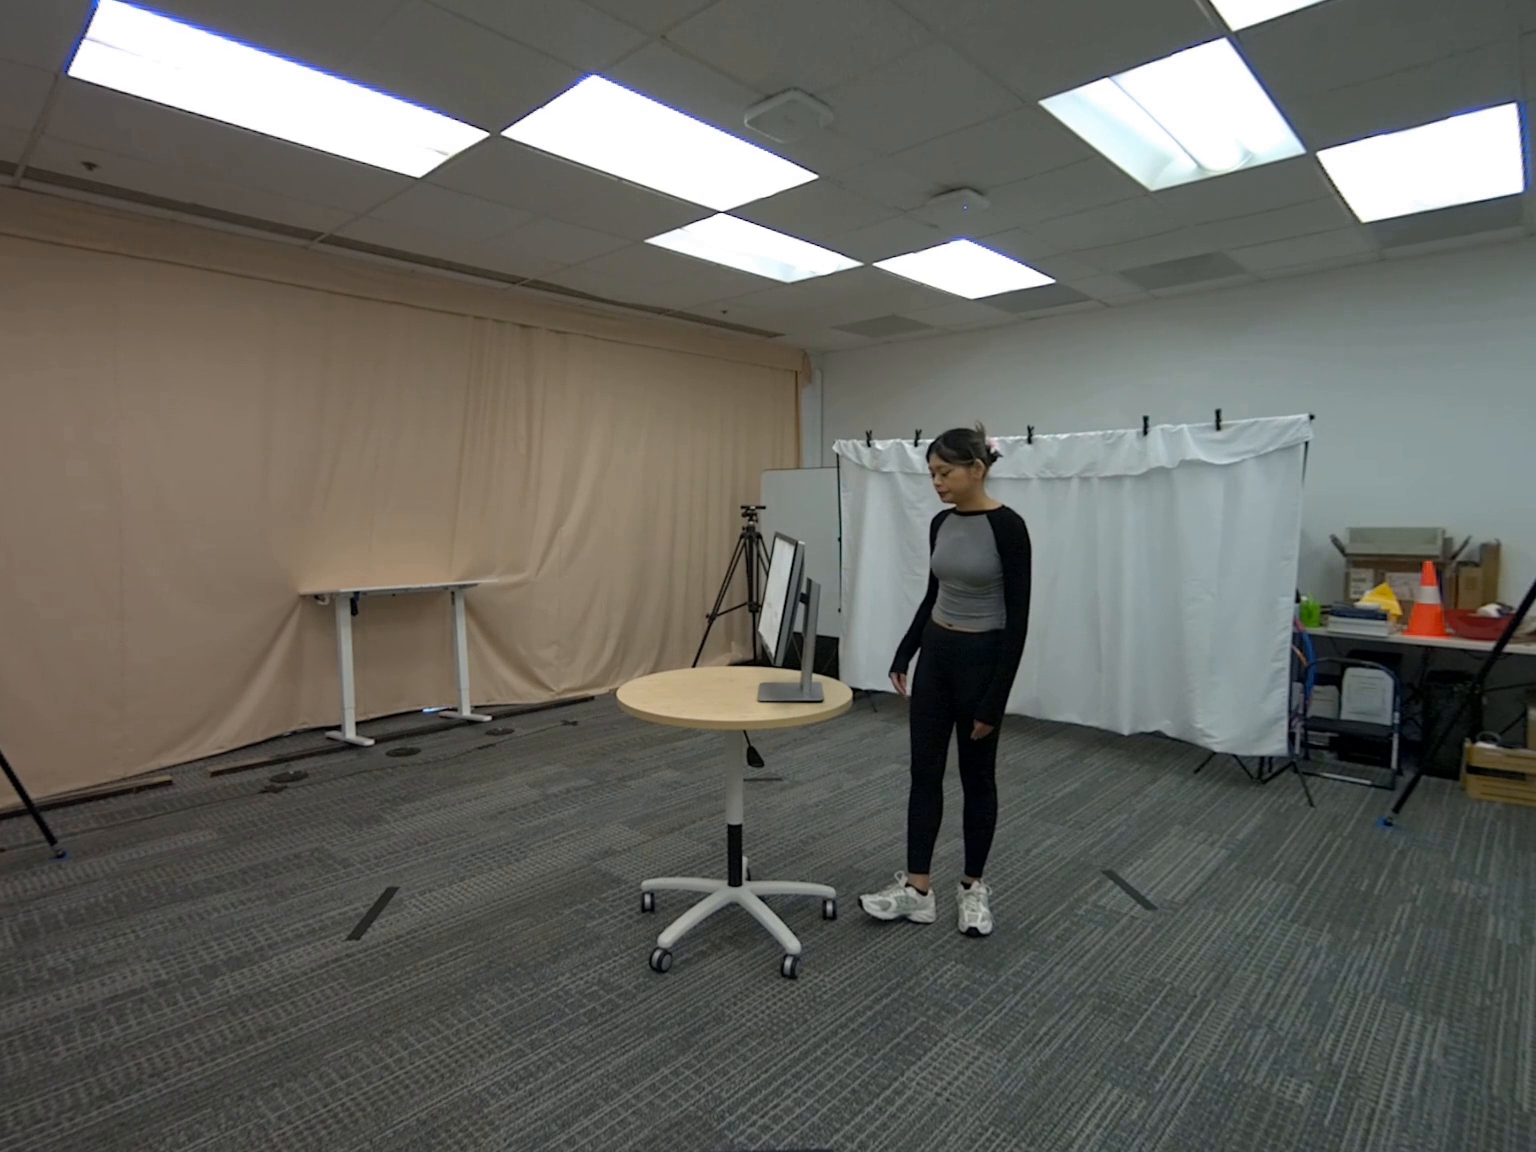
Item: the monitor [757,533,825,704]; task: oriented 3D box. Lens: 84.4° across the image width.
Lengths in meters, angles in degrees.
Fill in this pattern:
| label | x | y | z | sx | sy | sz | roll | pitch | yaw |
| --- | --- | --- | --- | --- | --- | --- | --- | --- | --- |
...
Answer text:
| label | x | y | z | sx | sy | sz | roll | pitch | yaw |
| --- | --- | --- | --- | --- | --- | --- | --- | --- | --- |
| monitor | 0.080 | 0.132 | 2.685 | 0.186 | 0.521 | 0.544 | -2 | 4 | -8 |
